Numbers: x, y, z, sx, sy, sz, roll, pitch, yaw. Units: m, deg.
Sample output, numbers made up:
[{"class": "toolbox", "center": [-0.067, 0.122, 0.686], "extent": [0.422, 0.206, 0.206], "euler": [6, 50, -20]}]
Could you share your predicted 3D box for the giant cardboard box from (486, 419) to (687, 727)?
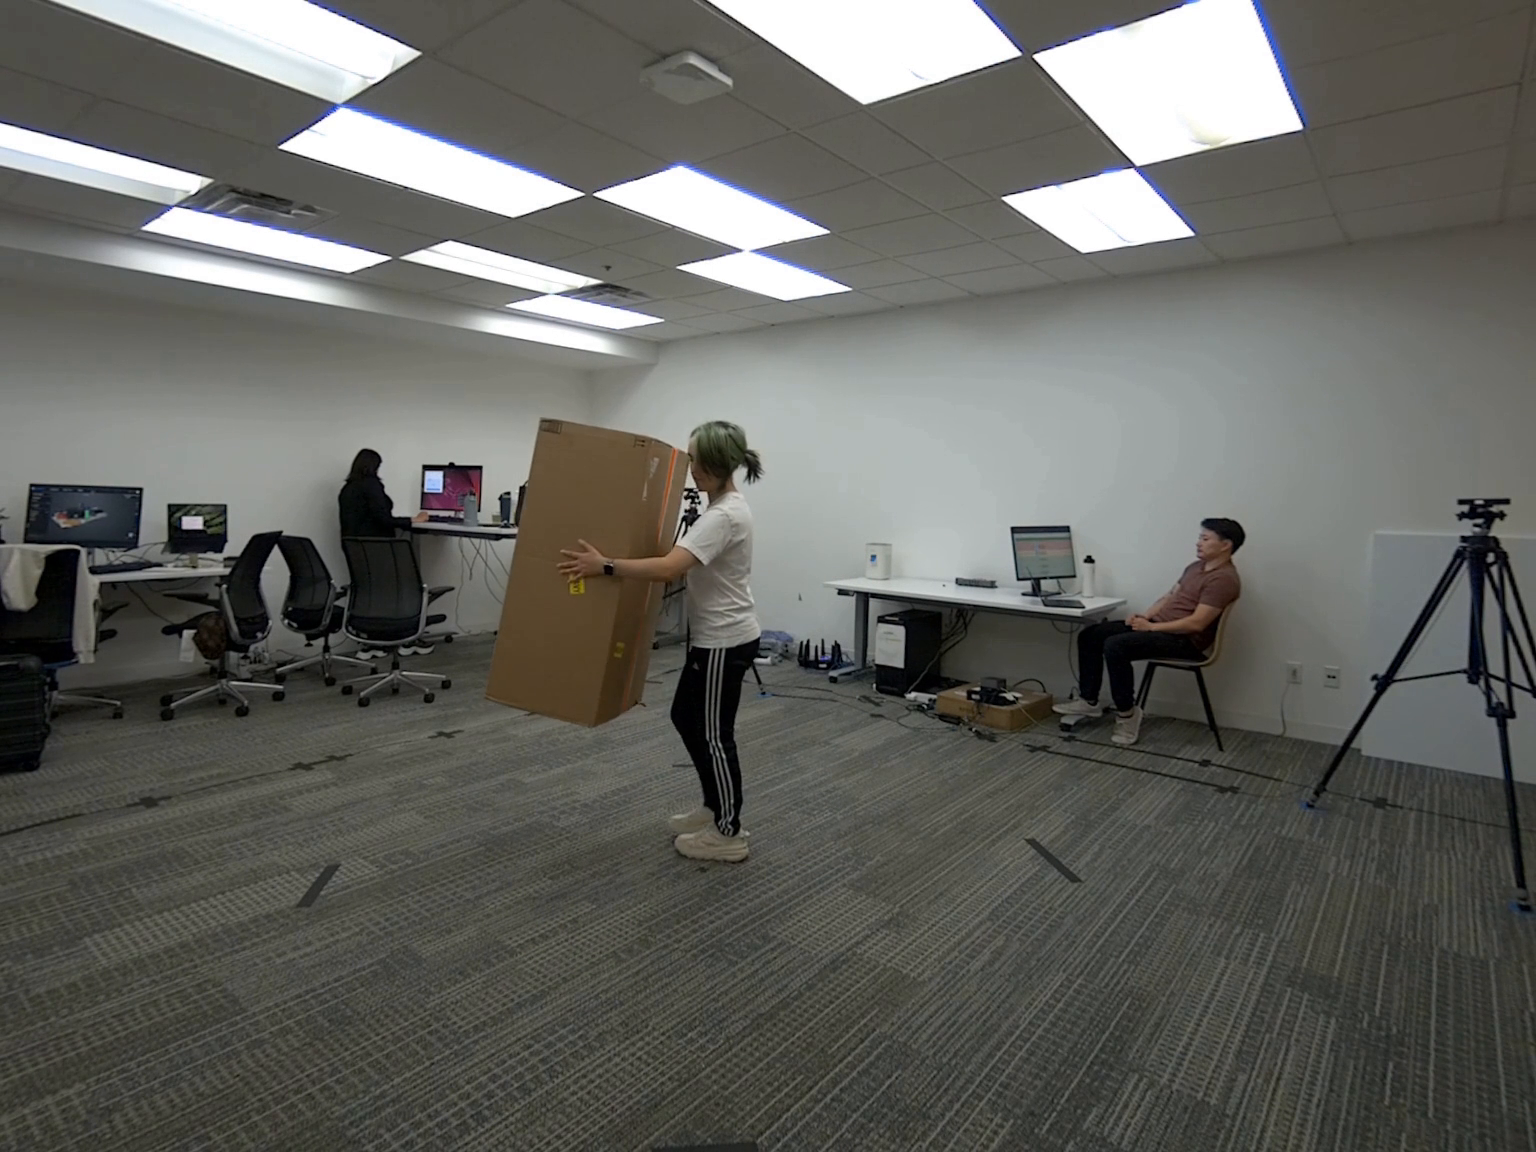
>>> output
[{"class": "giant cardboard box", "center": [-0.664, -0.022, 3.228], "extent": [0.452, 1.026, 0.577], "euler": [11, 1, 9]}]
